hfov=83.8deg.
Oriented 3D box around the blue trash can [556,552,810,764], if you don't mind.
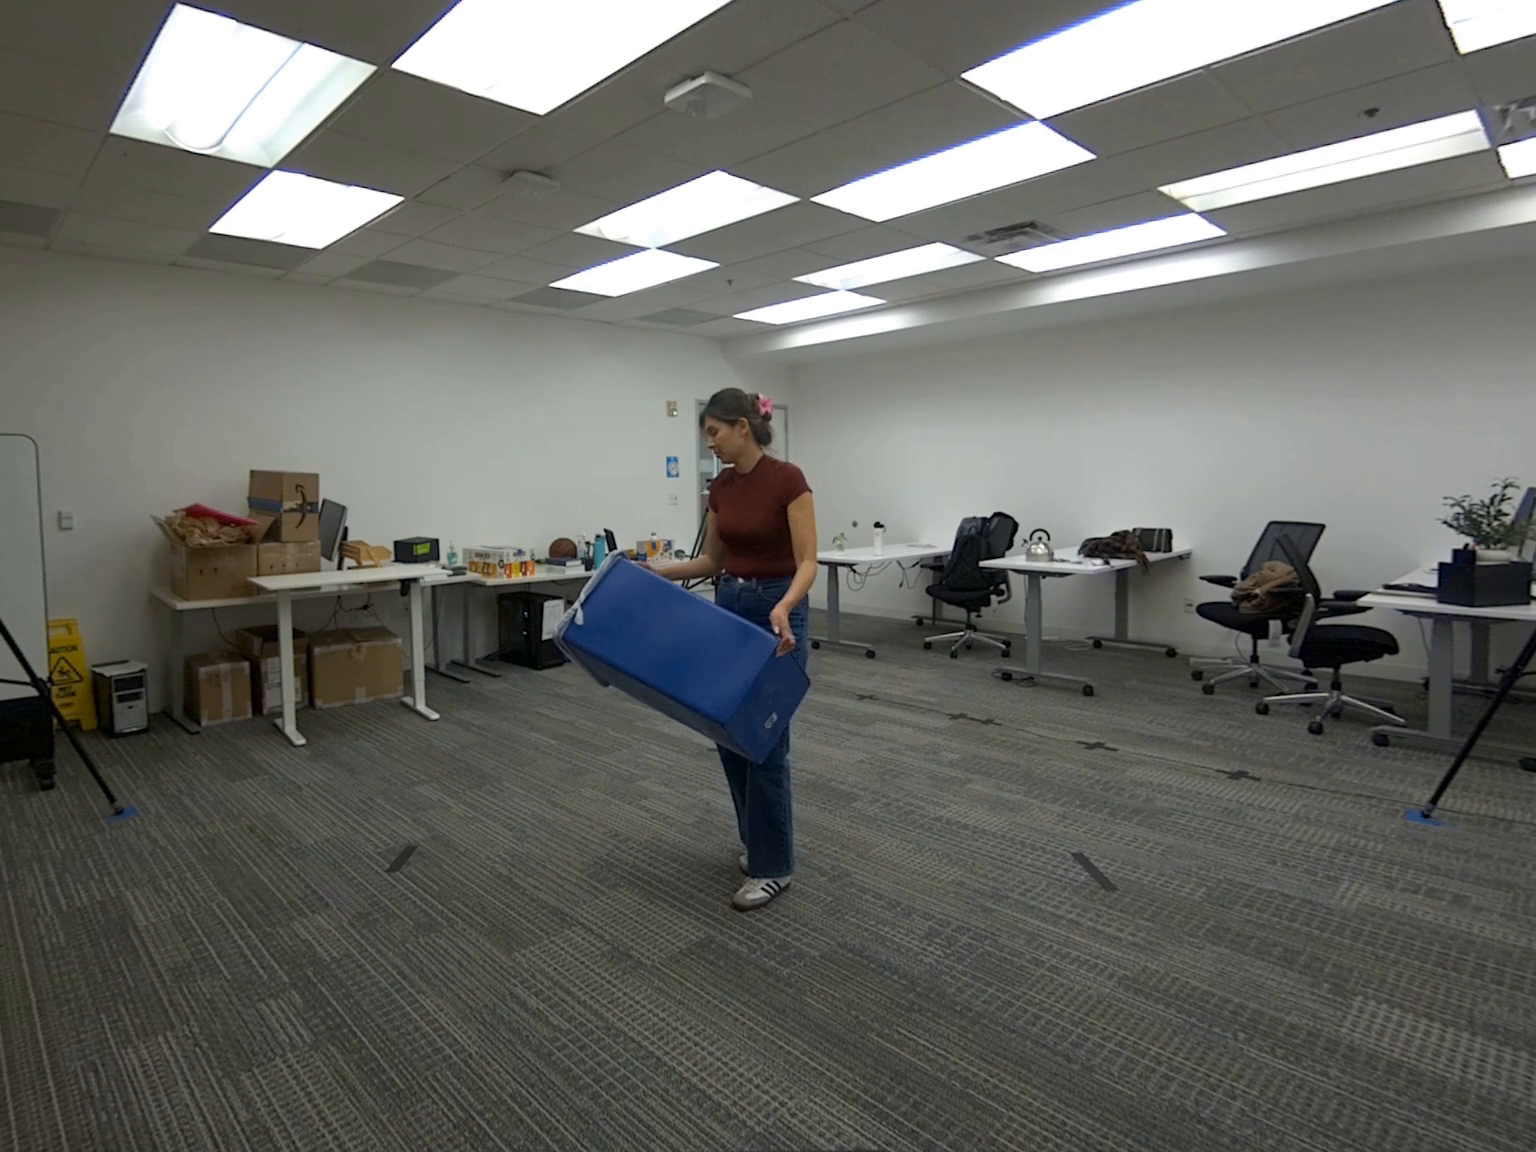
[{"bbox_3d":[-0.267,0.255,2.712,0.739,0.379,0.360,24,-22,35],"label":"blue trash can"}]
